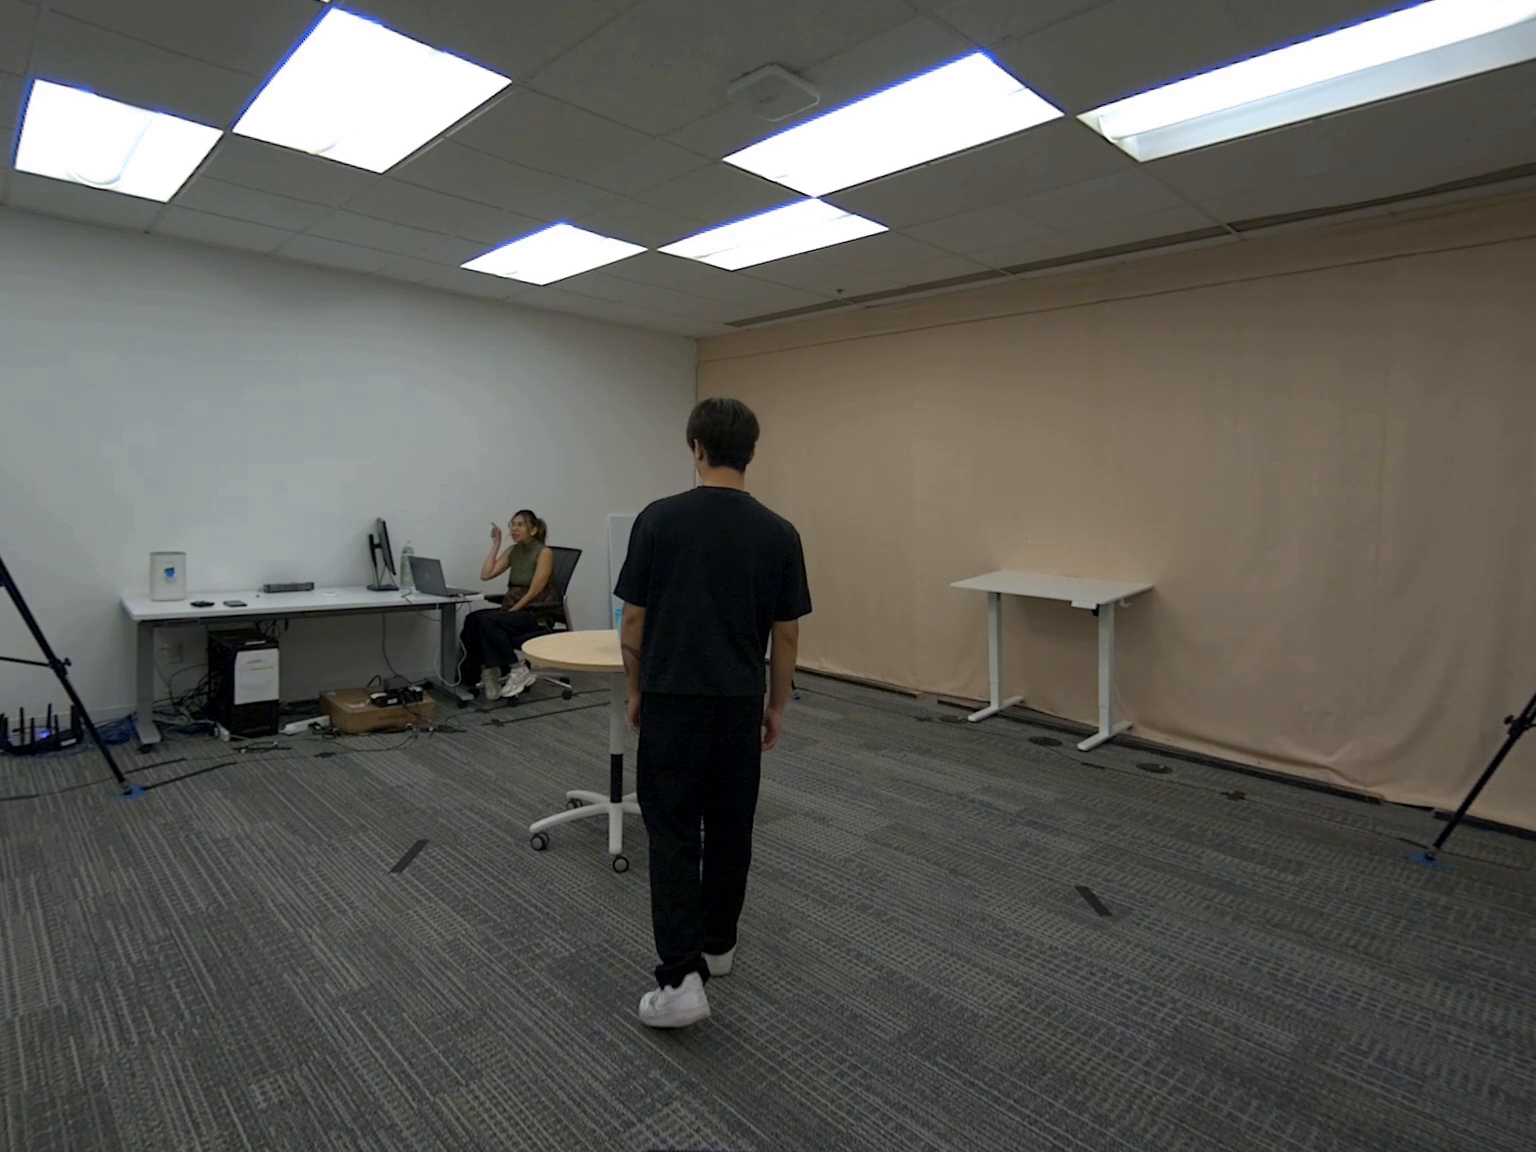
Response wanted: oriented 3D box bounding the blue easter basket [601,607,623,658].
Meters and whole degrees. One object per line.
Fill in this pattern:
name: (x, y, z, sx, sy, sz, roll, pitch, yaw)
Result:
blue easter basket: (-0.518, 0.220, 3.339, 0.243, 0.155, 0.244, 1, 4, -1)
